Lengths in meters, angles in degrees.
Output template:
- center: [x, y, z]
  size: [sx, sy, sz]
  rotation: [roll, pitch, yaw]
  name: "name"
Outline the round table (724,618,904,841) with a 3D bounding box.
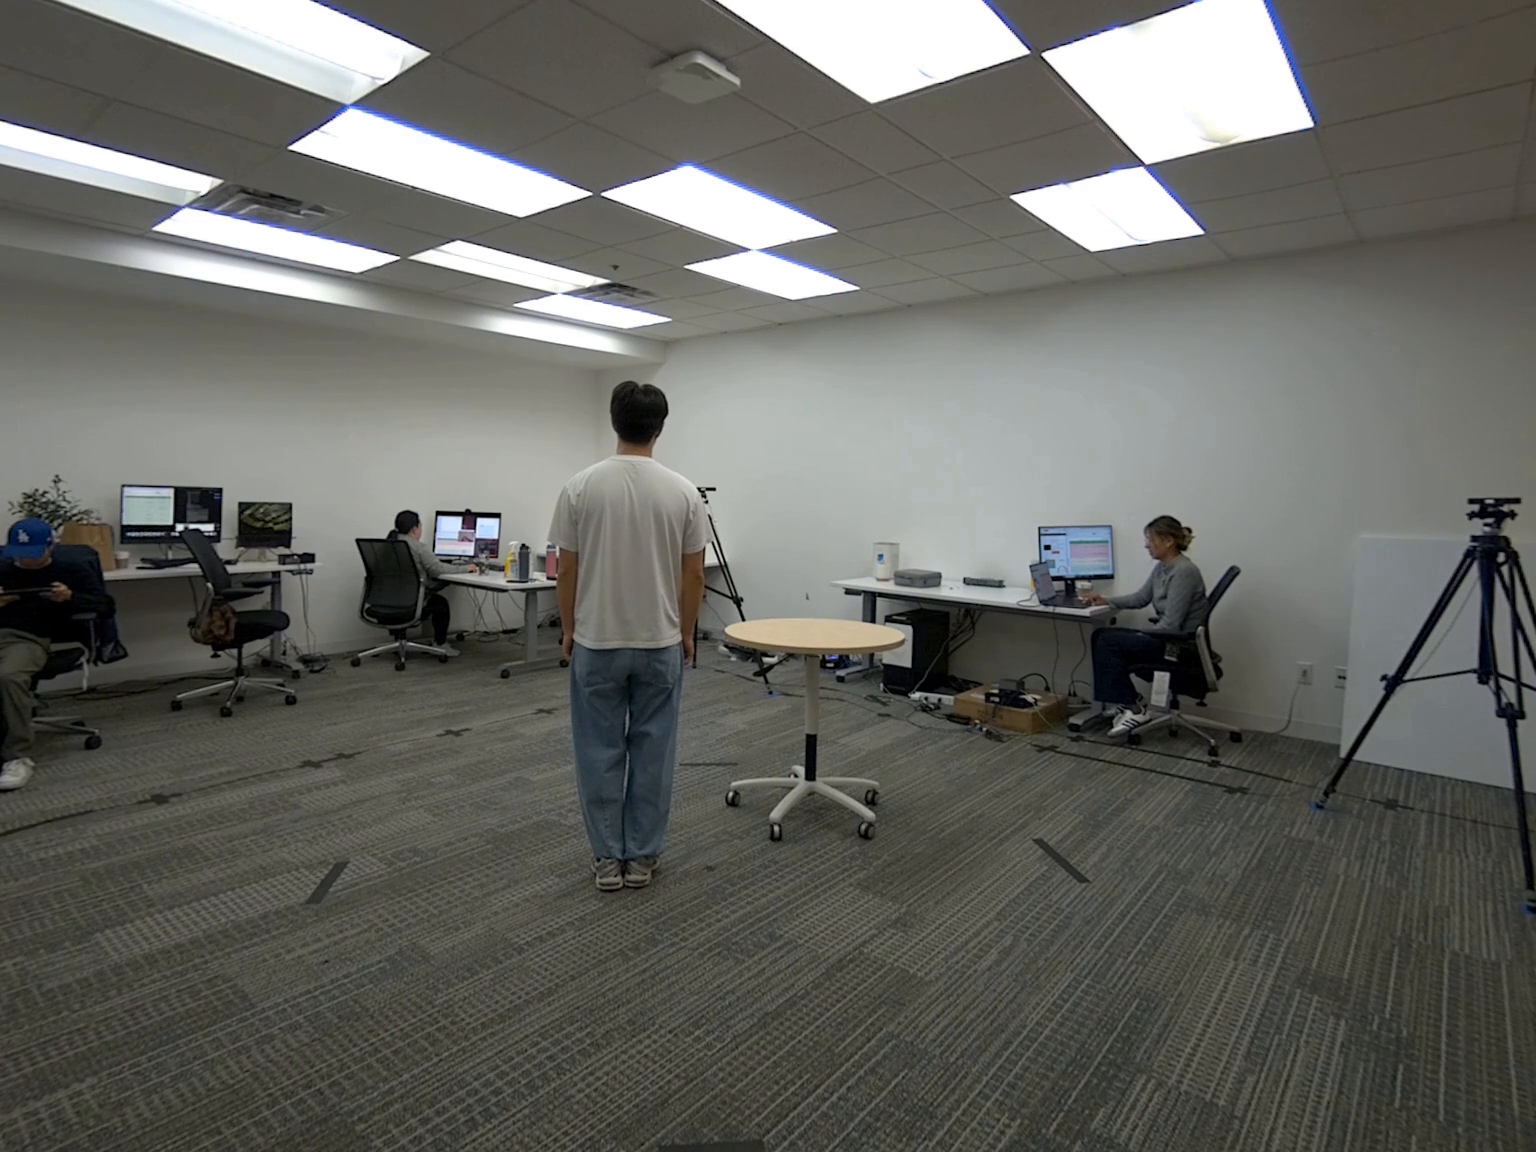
- center: [0.172, 0.631, 3.665]
  size: [0.763, 0.792, 0.767]
  rotation: [1, 4, -2]
  name: "round table"
